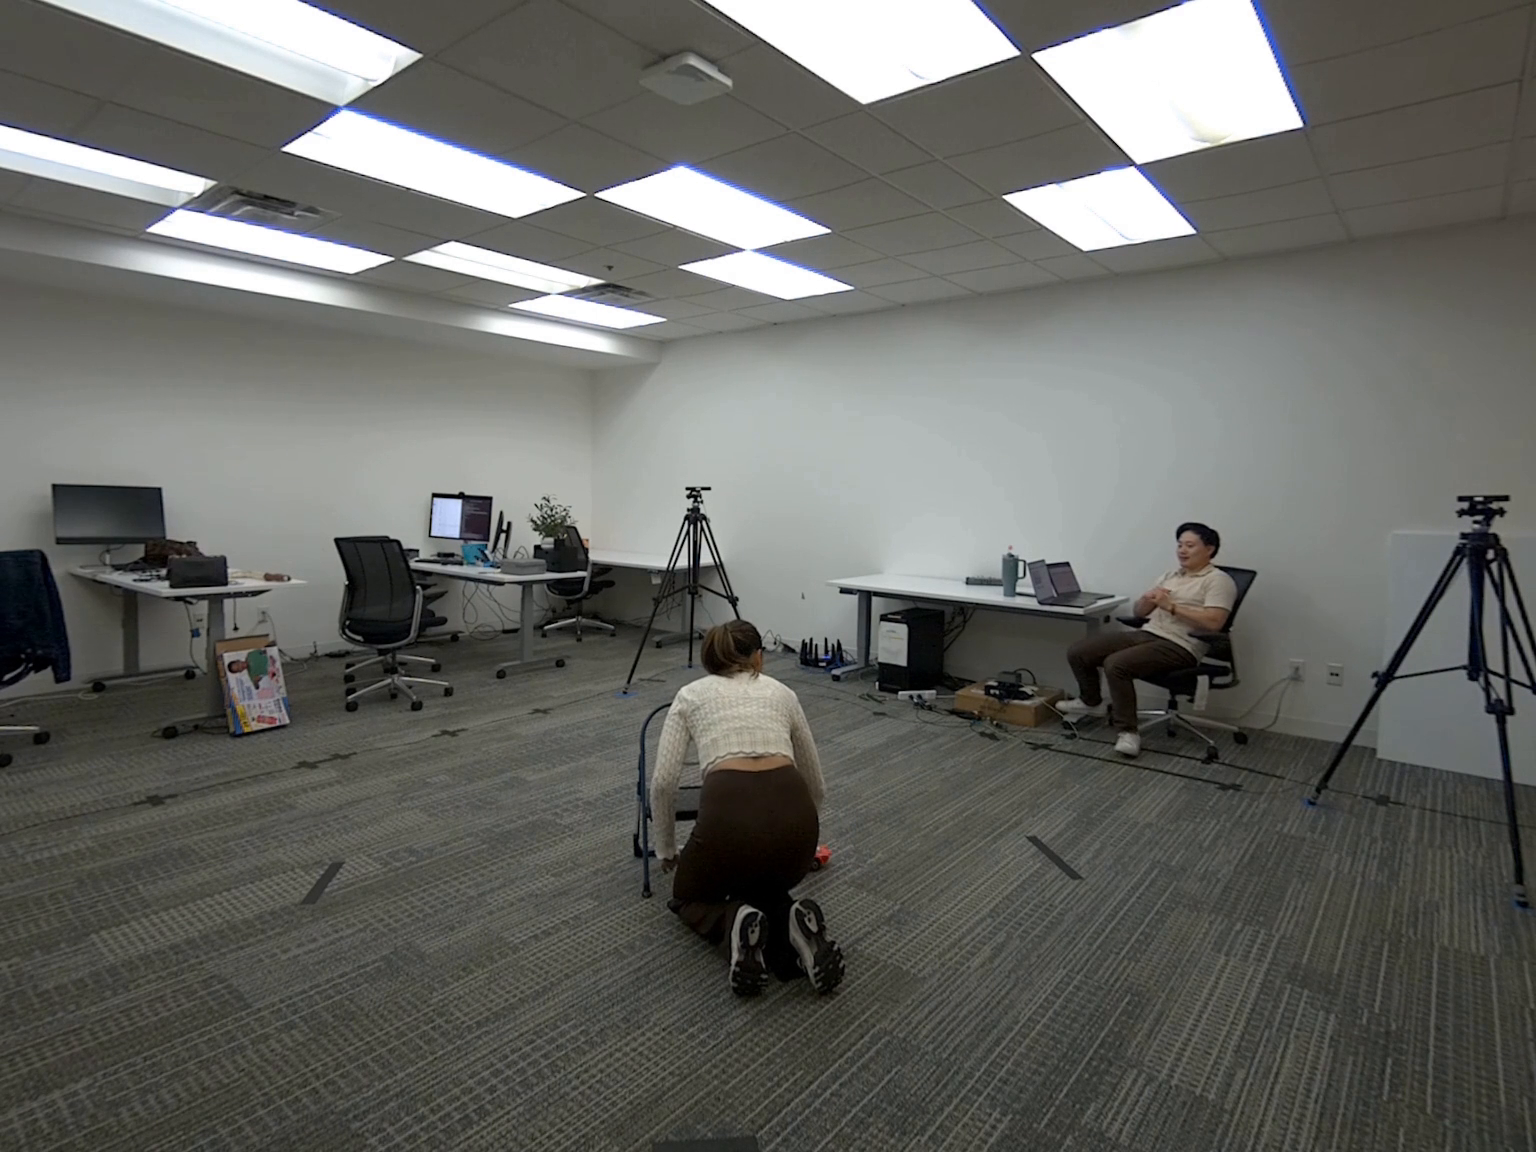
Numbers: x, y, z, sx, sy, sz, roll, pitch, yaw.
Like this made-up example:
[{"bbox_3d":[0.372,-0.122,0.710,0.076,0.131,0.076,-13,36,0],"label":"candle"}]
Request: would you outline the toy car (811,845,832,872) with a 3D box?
[{"bbox_3d":[0.107,1.037,3.135,0.252,0.082,0.132,-12,8,-11],"label":"toy car"}]
